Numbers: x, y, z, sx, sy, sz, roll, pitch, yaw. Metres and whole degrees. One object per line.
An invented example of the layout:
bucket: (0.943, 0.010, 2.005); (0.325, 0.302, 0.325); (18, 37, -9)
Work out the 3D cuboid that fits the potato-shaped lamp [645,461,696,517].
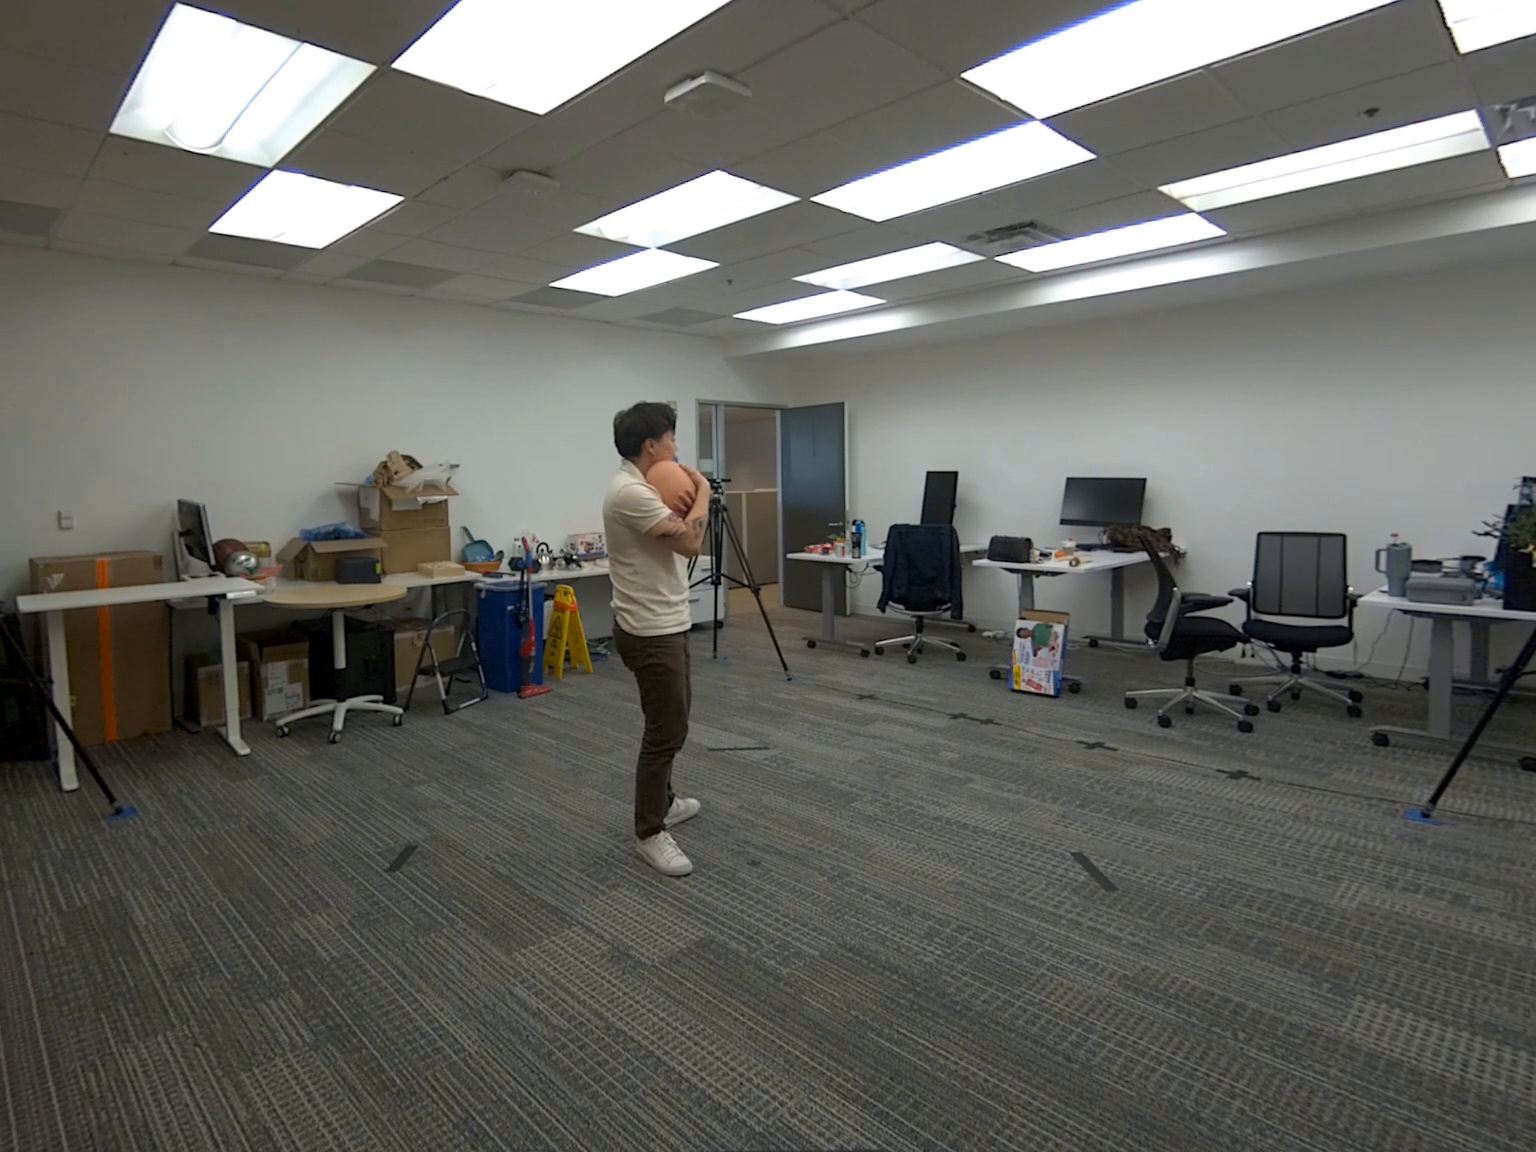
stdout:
potato-shaped lamp: (-0.354, -0.324, 3.110); (0.199, 0.171, 0.164); (33, 7, 2)
